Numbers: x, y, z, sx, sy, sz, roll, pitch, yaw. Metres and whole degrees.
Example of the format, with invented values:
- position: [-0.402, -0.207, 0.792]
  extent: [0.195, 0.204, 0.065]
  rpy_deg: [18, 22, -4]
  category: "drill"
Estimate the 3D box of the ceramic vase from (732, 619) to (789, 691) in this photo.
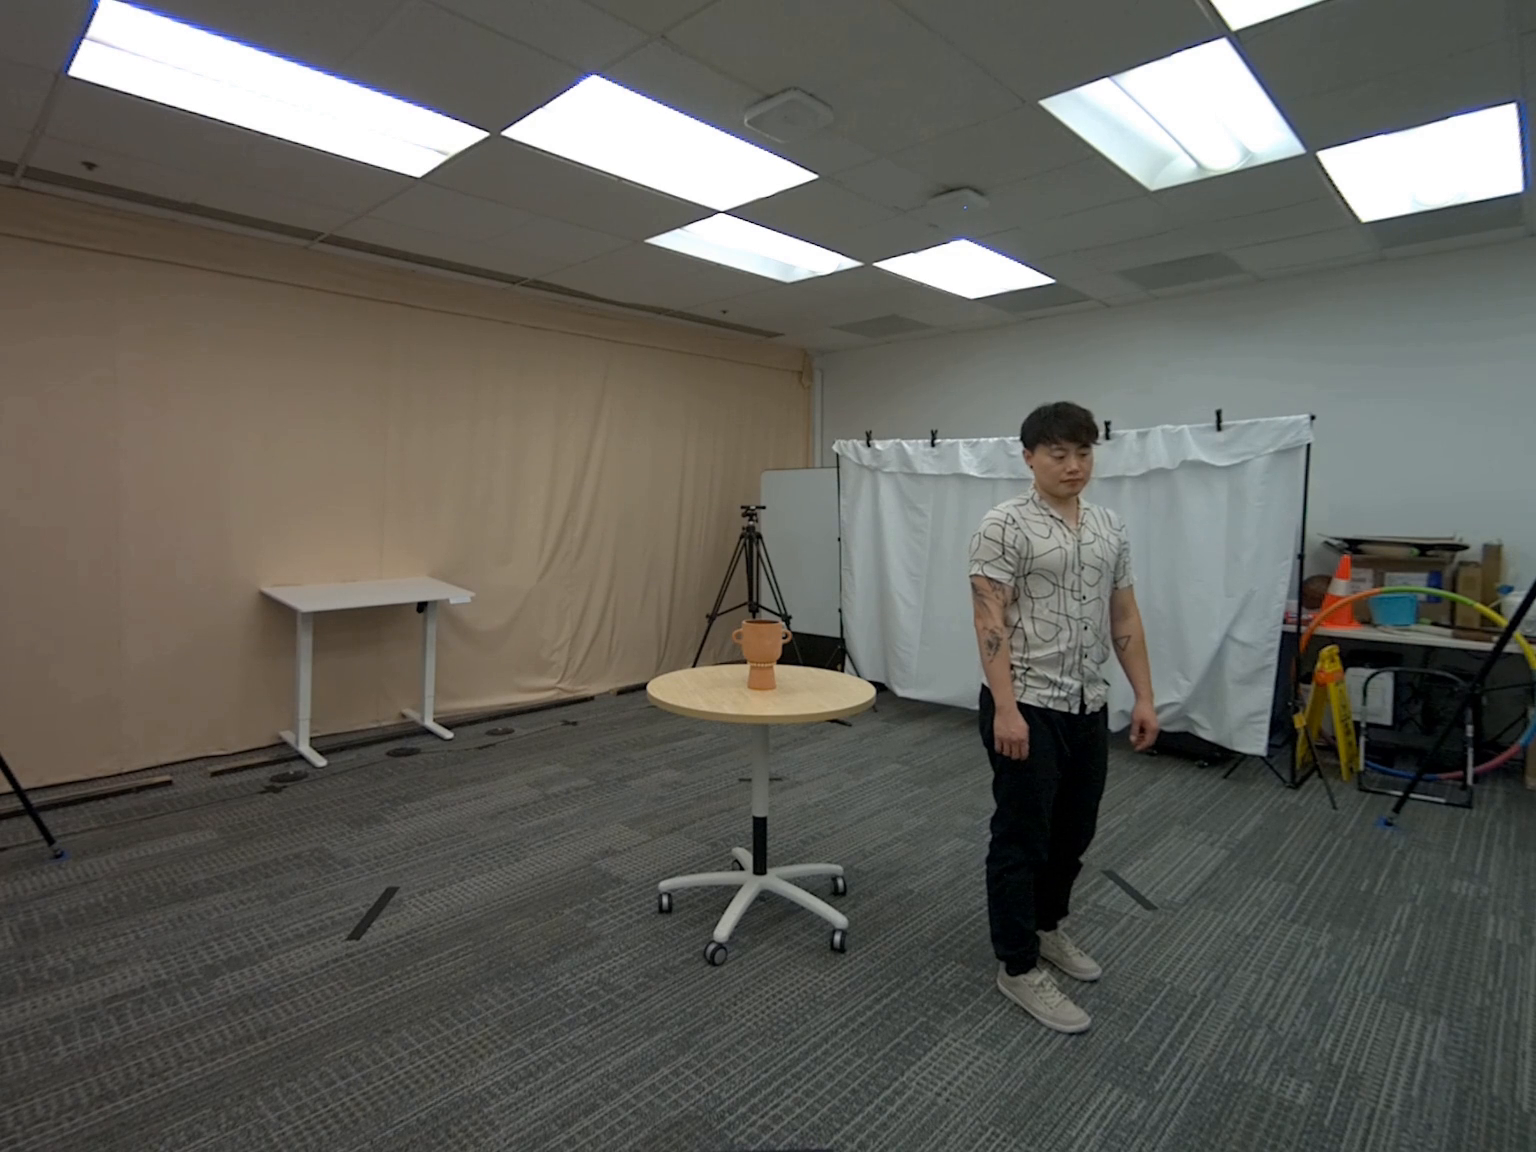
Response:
- position: [-0.018, 0.265, 2.817]
  extent: [0.164, 0.219, 0.131]
  rpy_deg: [3, 4, 35]
  category: "ceramic vase"
